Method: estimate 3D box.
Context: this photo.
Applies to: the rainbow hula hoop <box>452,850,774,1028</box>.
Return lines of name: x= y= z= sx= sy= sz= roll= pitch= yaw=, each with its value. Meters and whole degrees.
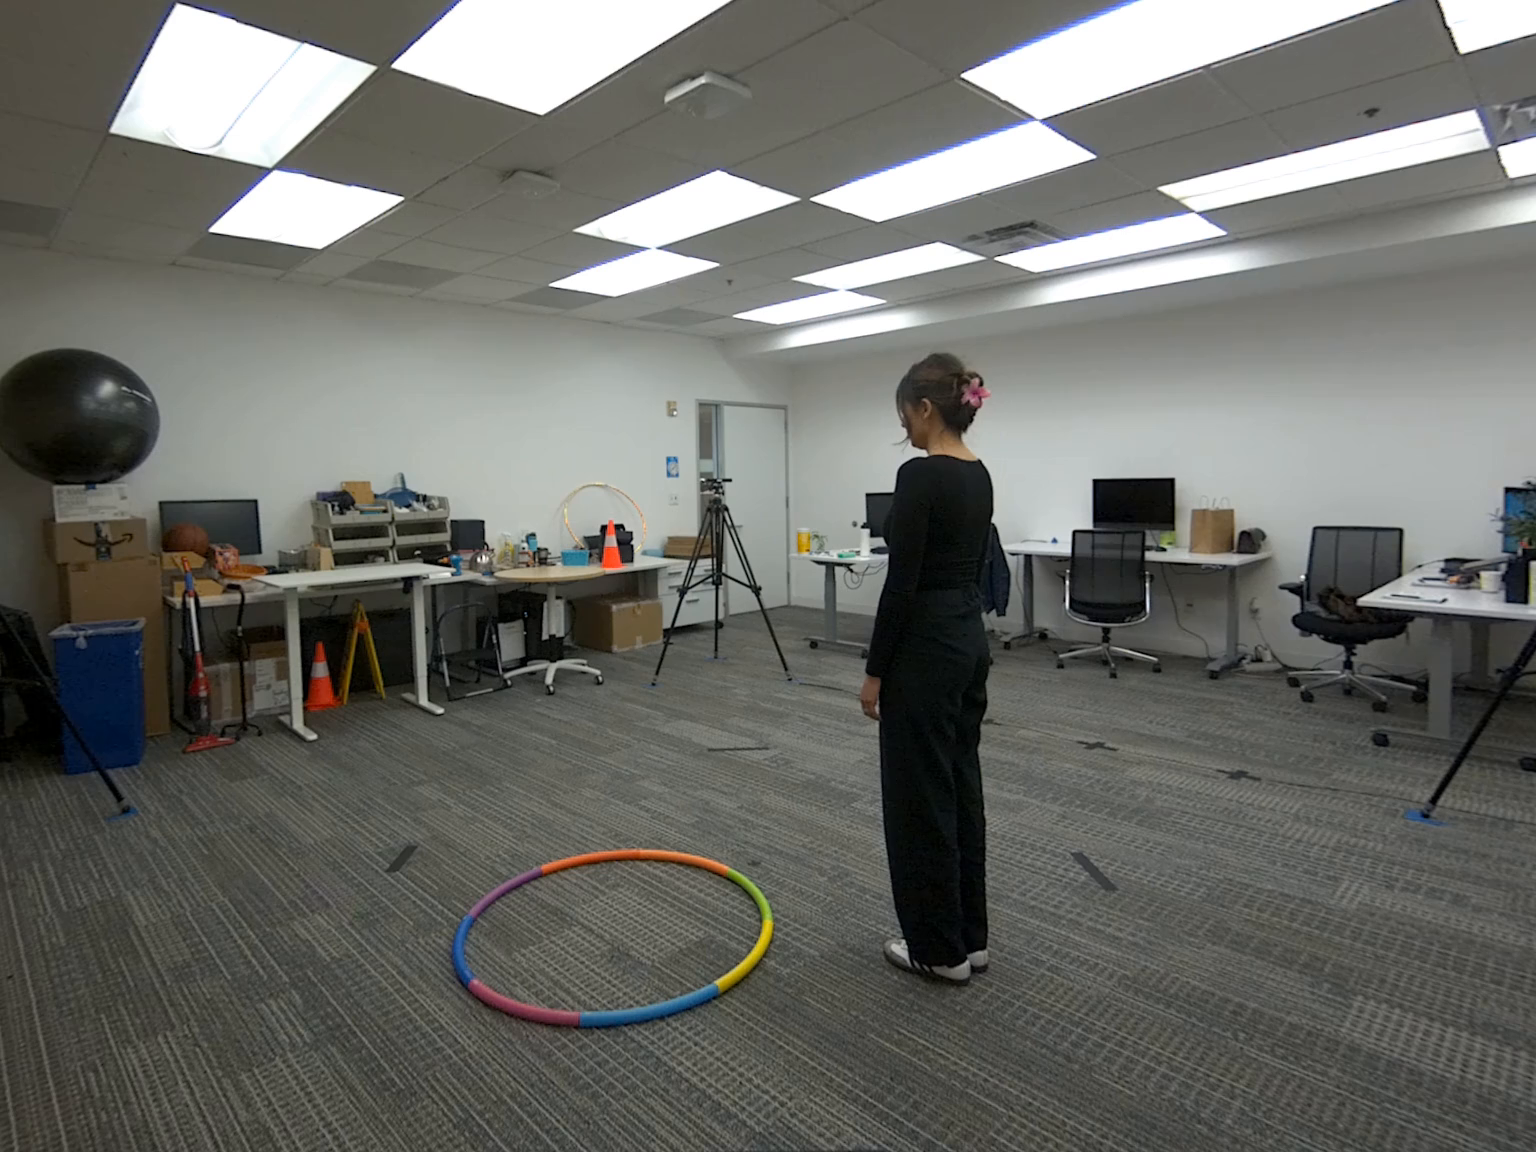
rainbow hula hoop: x=-0.468 y=1.070 z=2.685 sx=0.978 sy=0.035 sz=0.984 roll=-2 pitch=7 yaw=-1
